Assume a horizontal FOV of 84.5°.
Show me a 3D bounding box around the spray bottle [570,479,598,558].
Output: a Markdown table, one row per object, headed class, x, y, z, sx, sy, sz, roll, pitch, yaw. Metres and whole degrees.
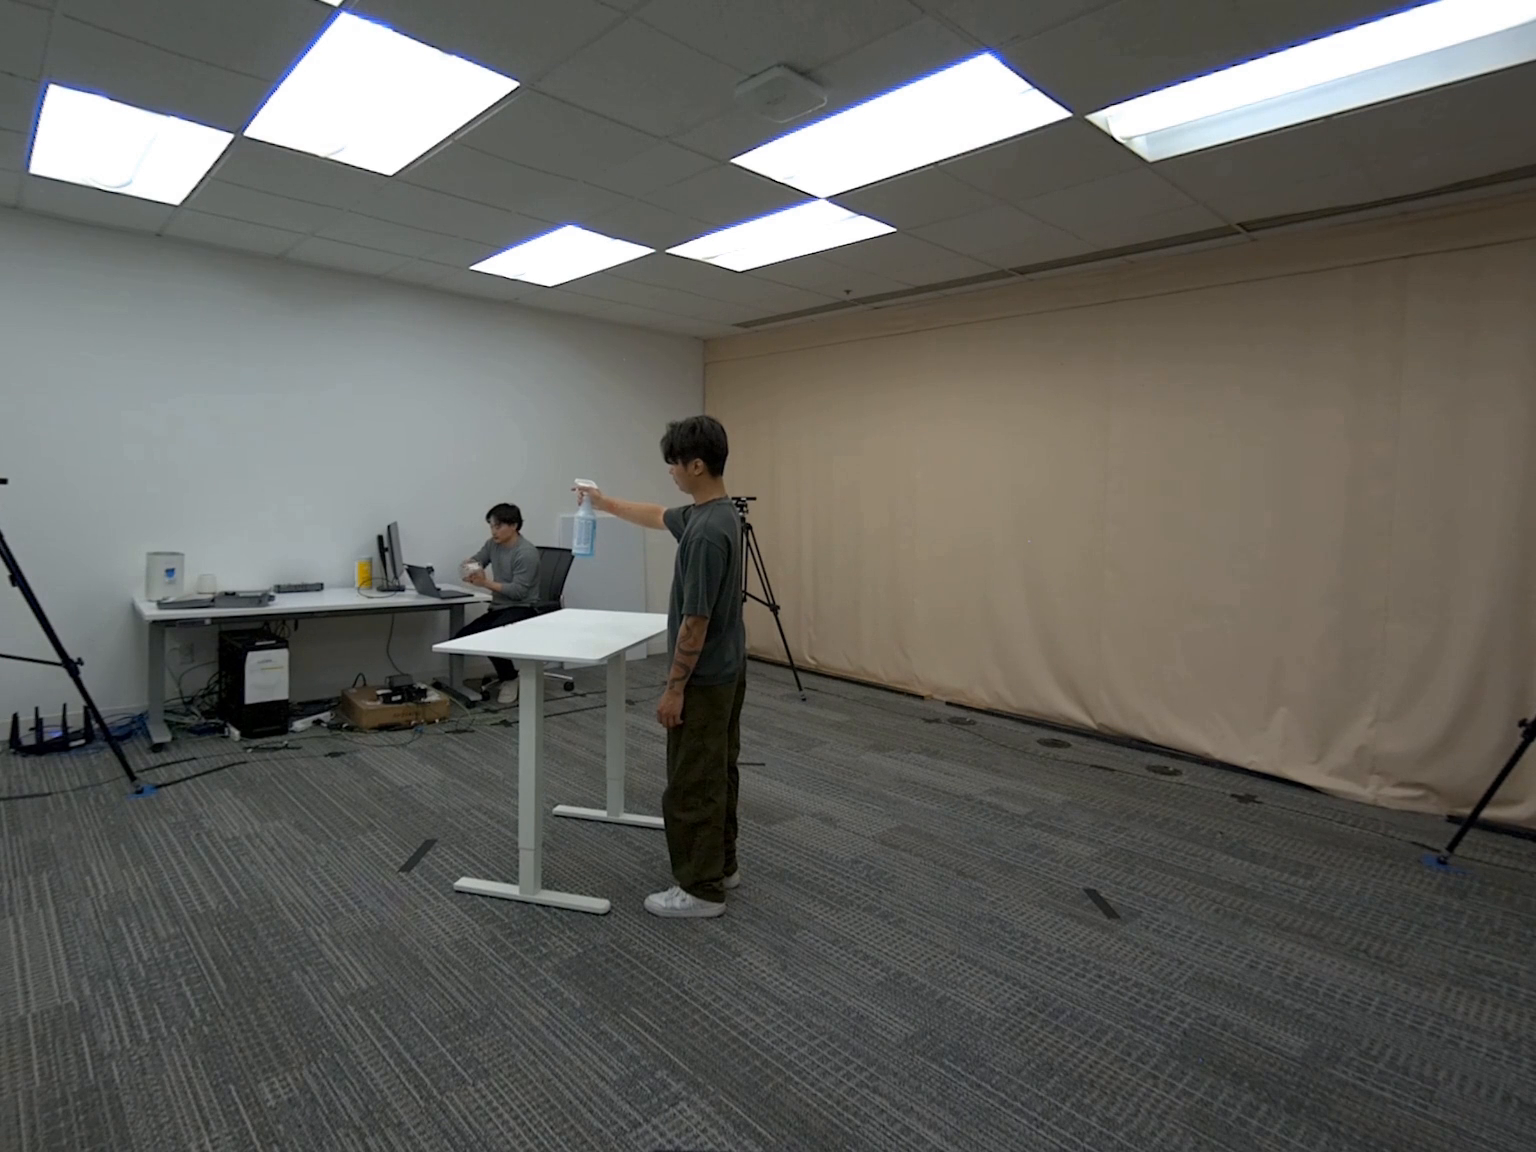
| class | x | y | z | sx | sy | sz | roll | pitch | yaw |
| --- | --- | --- | --- | --- | --- | --- | --- | --- | --- |
| spray bottle | -0.720 | -0.224 | 3.269 | 0.092 | 0.296 | 0.085 | 7 | 4 | 29 |
